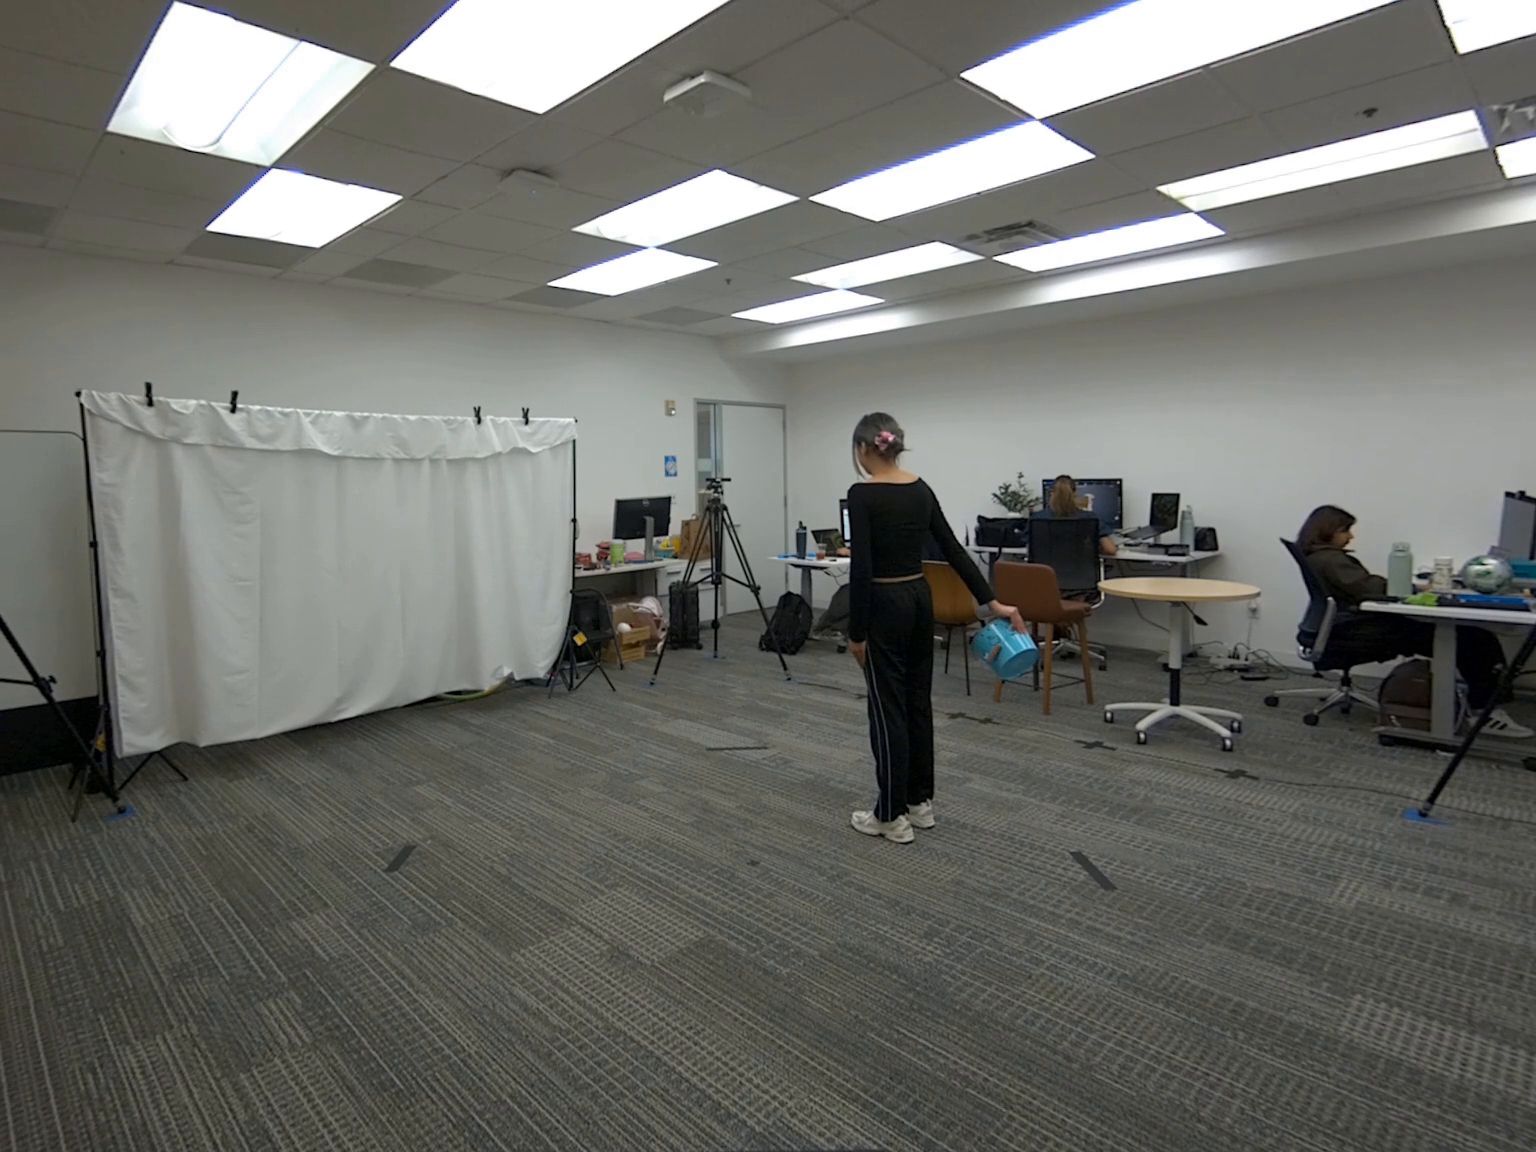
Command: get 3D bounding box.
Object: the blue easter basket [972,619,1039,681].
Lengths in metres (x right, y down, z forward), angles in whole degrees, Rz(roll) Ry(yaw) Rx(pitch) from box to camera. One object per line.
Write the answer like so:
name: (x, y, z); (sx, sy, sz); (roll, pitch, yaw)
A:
blue easter basket: (0.928, 0.292, 3.355); (0.238, 0.240, 0.162); (-3, 45, -27)
